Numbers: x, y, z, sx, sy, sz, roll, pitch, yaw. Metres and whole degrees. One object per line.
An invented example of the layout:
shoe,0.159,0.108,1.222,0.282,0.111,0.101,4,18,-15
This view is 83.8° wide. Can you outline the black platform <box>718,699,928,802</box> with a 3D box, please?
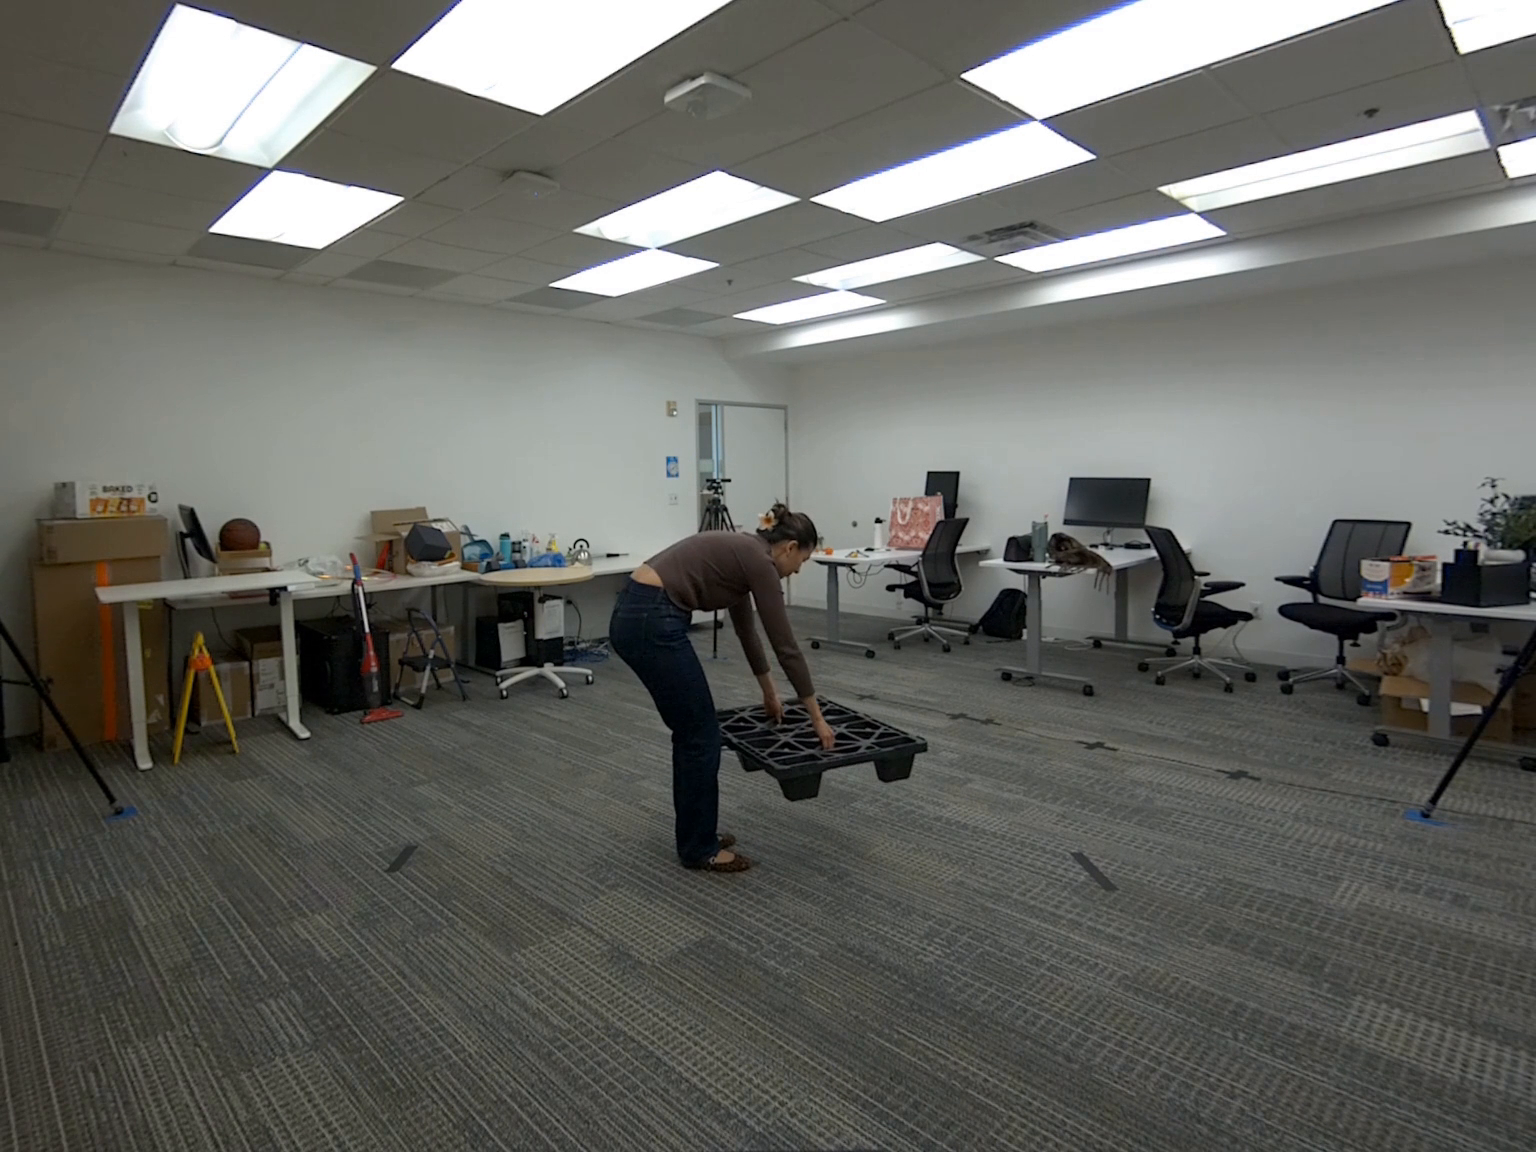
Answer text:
black platform,0.129,0.638,3.235,0.593,0.143,0.825,-5,6,-24
